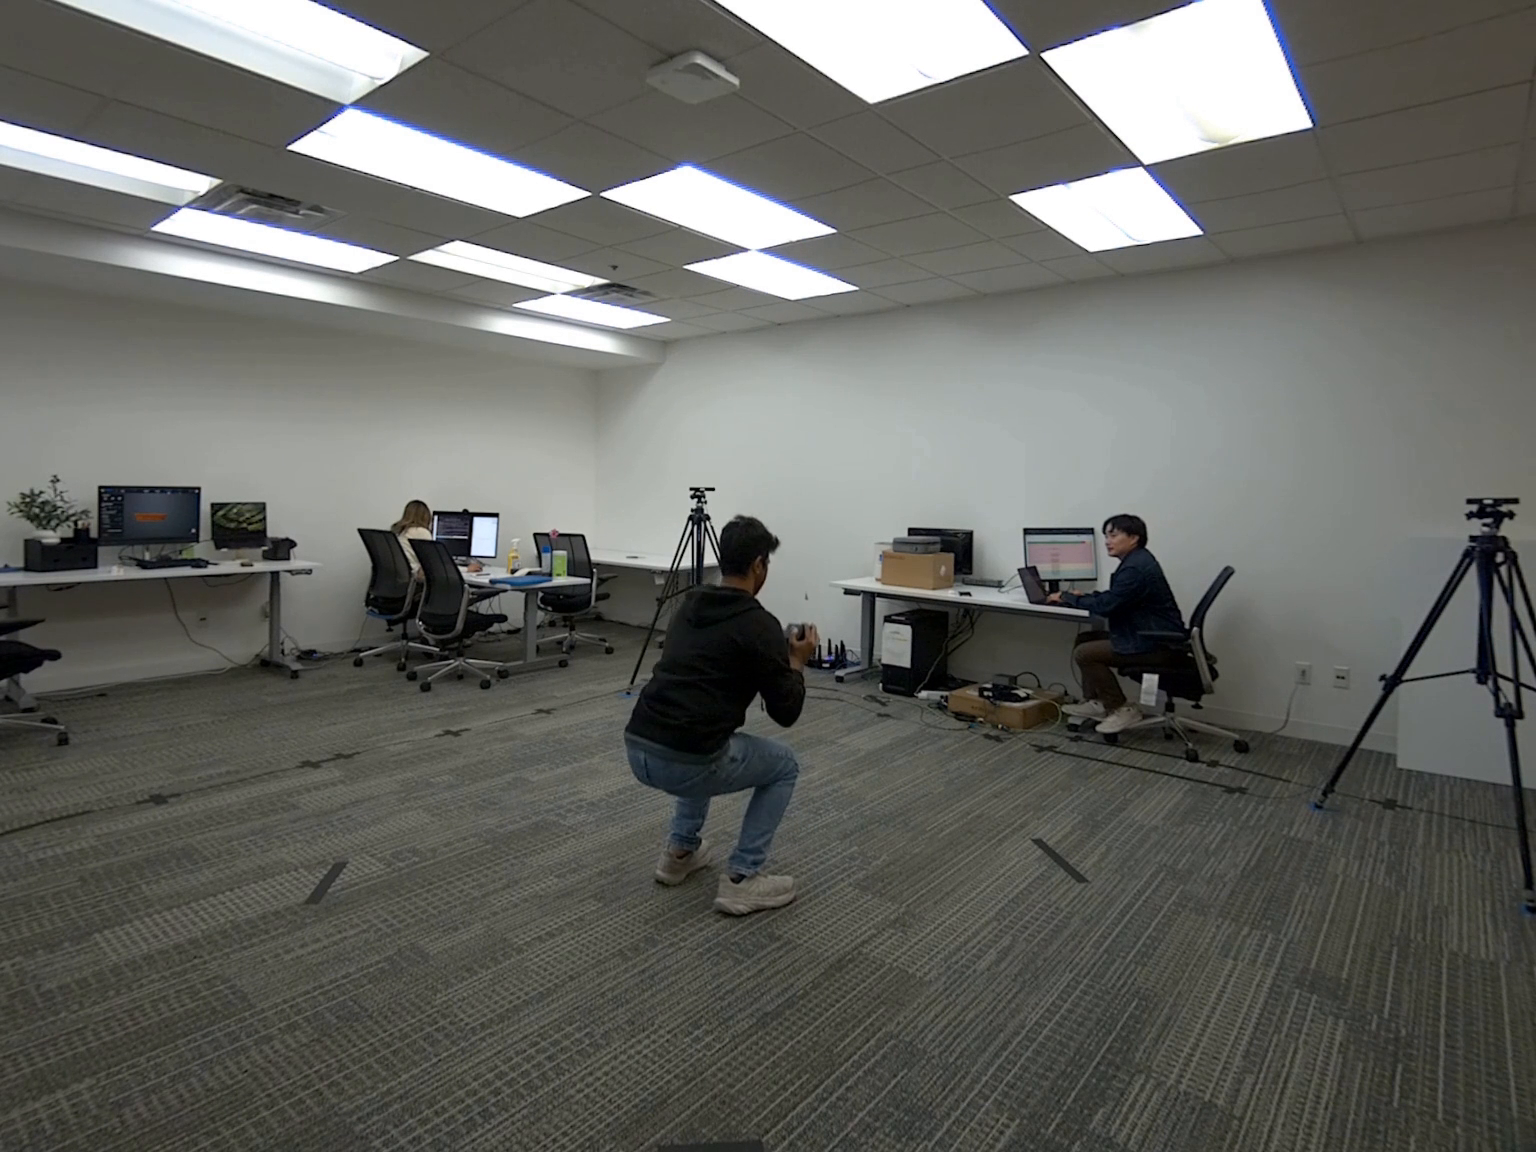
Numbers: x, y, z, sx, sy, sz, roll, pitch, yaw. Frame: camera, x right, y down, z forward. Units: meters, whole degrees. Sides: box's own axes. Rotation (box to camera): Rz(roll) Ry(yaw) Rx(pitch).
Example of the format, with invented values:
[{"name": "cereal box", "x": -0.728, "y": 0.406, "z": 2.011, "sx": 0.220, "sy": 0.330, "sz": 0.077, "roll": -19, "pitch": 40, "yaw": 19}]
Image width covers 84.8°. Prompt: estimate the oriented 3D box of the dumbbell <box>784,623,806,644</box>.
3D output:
[{"name": "dumbbell", "x": 0.017, "y": 0.227, "z": 3.175, "sx": 0.303, "sy": 0.124, "sz": 0.104, "roll": 3, "pitch": -37, "yaw": 41}]
